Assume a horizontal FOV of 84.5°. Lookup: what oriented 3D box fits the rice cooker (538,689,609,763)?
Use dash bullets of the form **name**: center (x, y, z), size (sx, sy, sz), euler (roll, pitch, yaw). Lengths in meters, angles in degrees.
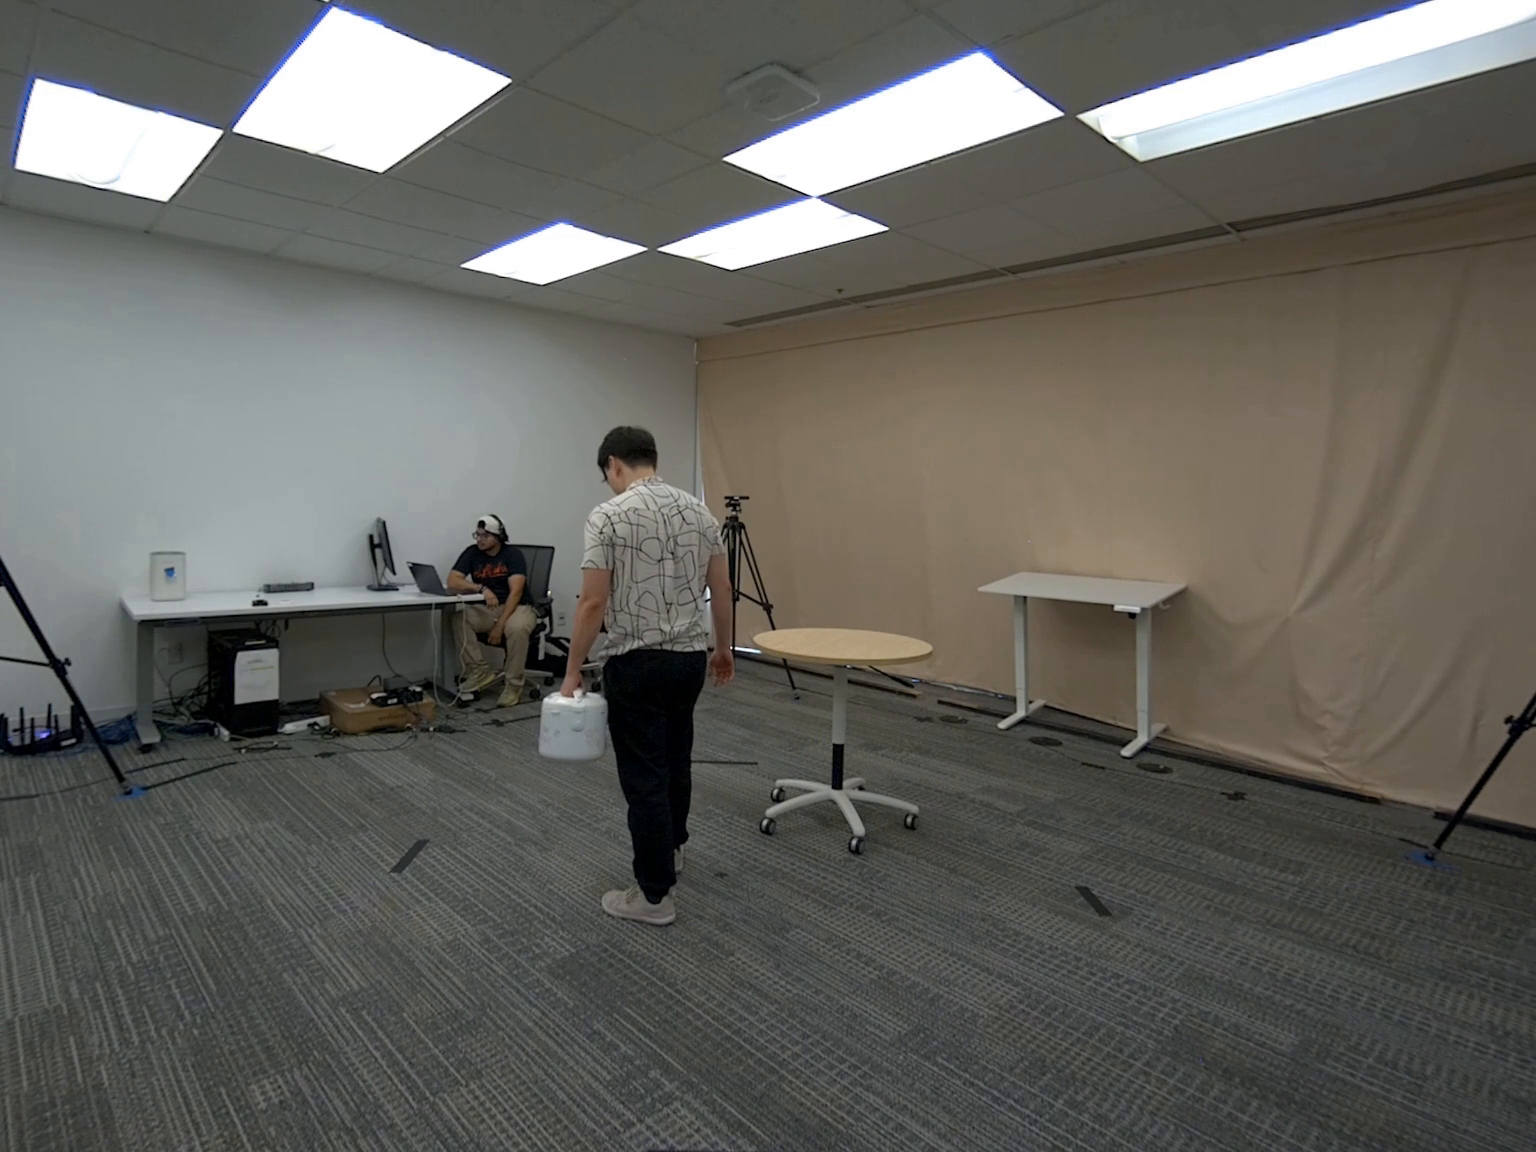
- **rice cooker**: center (-0.630, 0.471, 2.714), size (0.214, 0.233, 0.223), euler (5, -3, -16)
